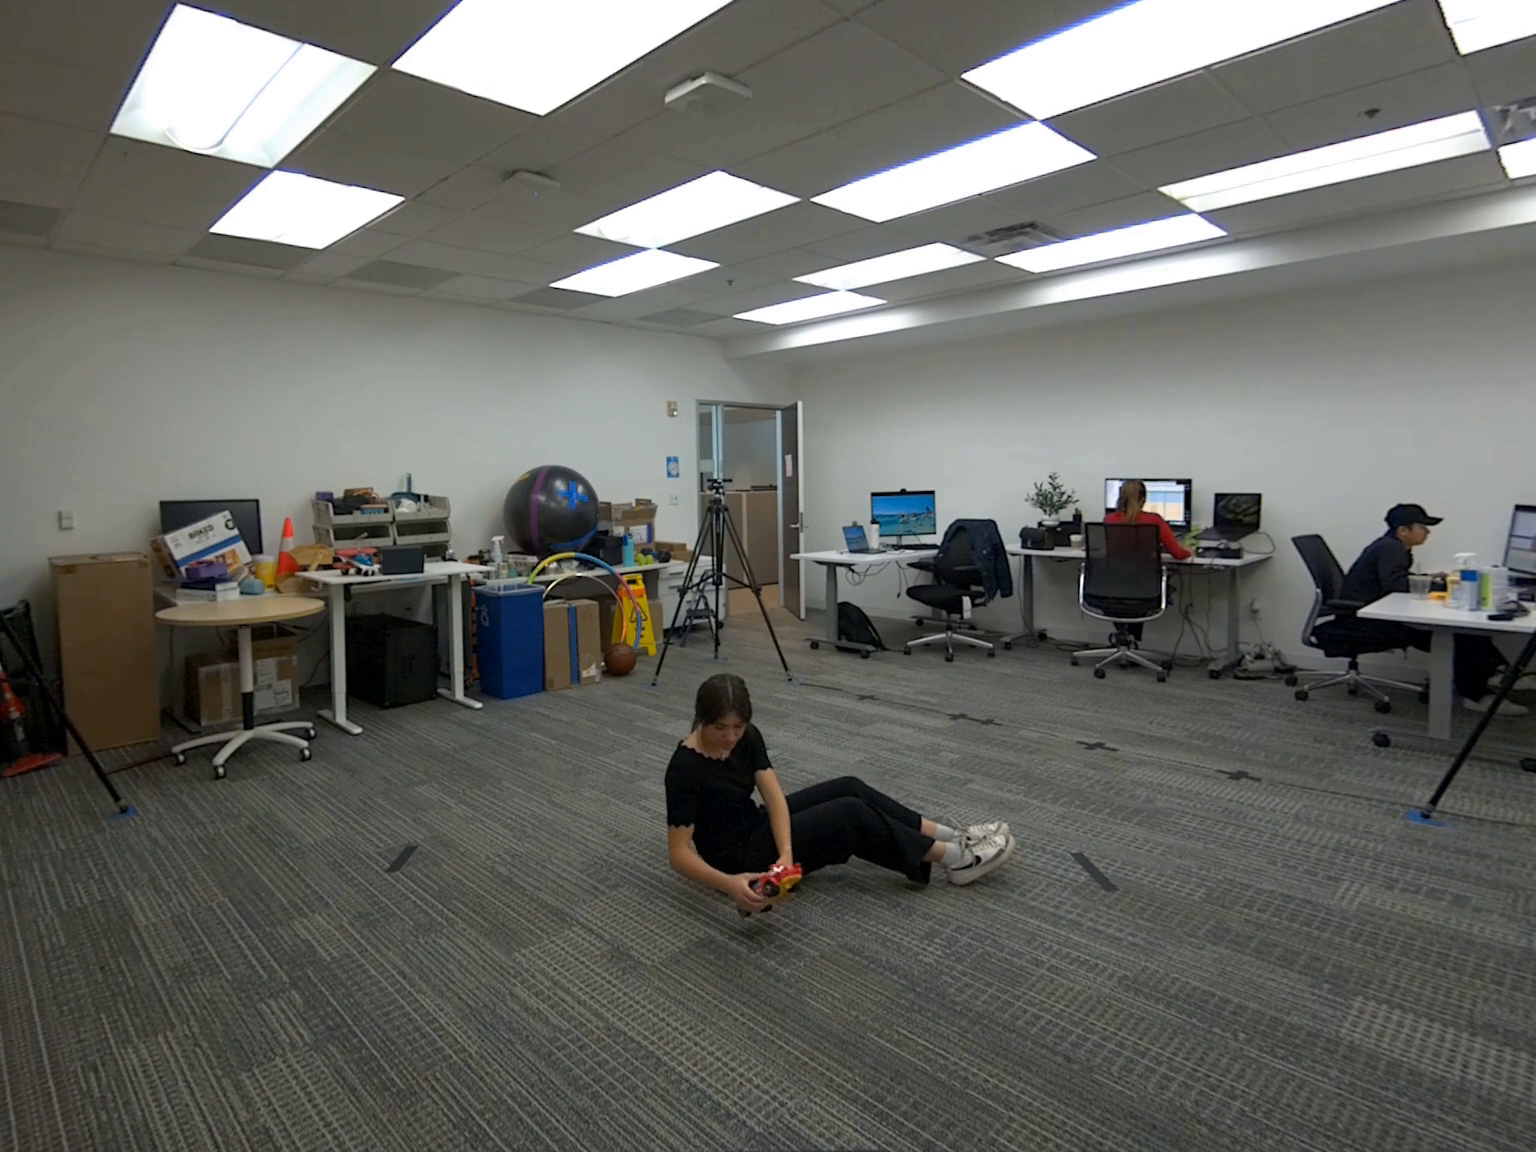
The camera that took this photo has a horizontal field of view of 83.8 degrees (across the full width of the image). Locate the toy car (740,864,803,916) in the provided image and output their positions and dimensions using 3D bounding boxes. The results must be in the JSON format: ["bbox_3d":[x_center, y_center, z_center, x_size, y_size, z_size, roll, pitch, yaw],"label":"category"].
[{"bbox_3d":[0.009,0.971,2.589,0.126,0.252,0.086,5,33,-40],"label":"toy car"}]
